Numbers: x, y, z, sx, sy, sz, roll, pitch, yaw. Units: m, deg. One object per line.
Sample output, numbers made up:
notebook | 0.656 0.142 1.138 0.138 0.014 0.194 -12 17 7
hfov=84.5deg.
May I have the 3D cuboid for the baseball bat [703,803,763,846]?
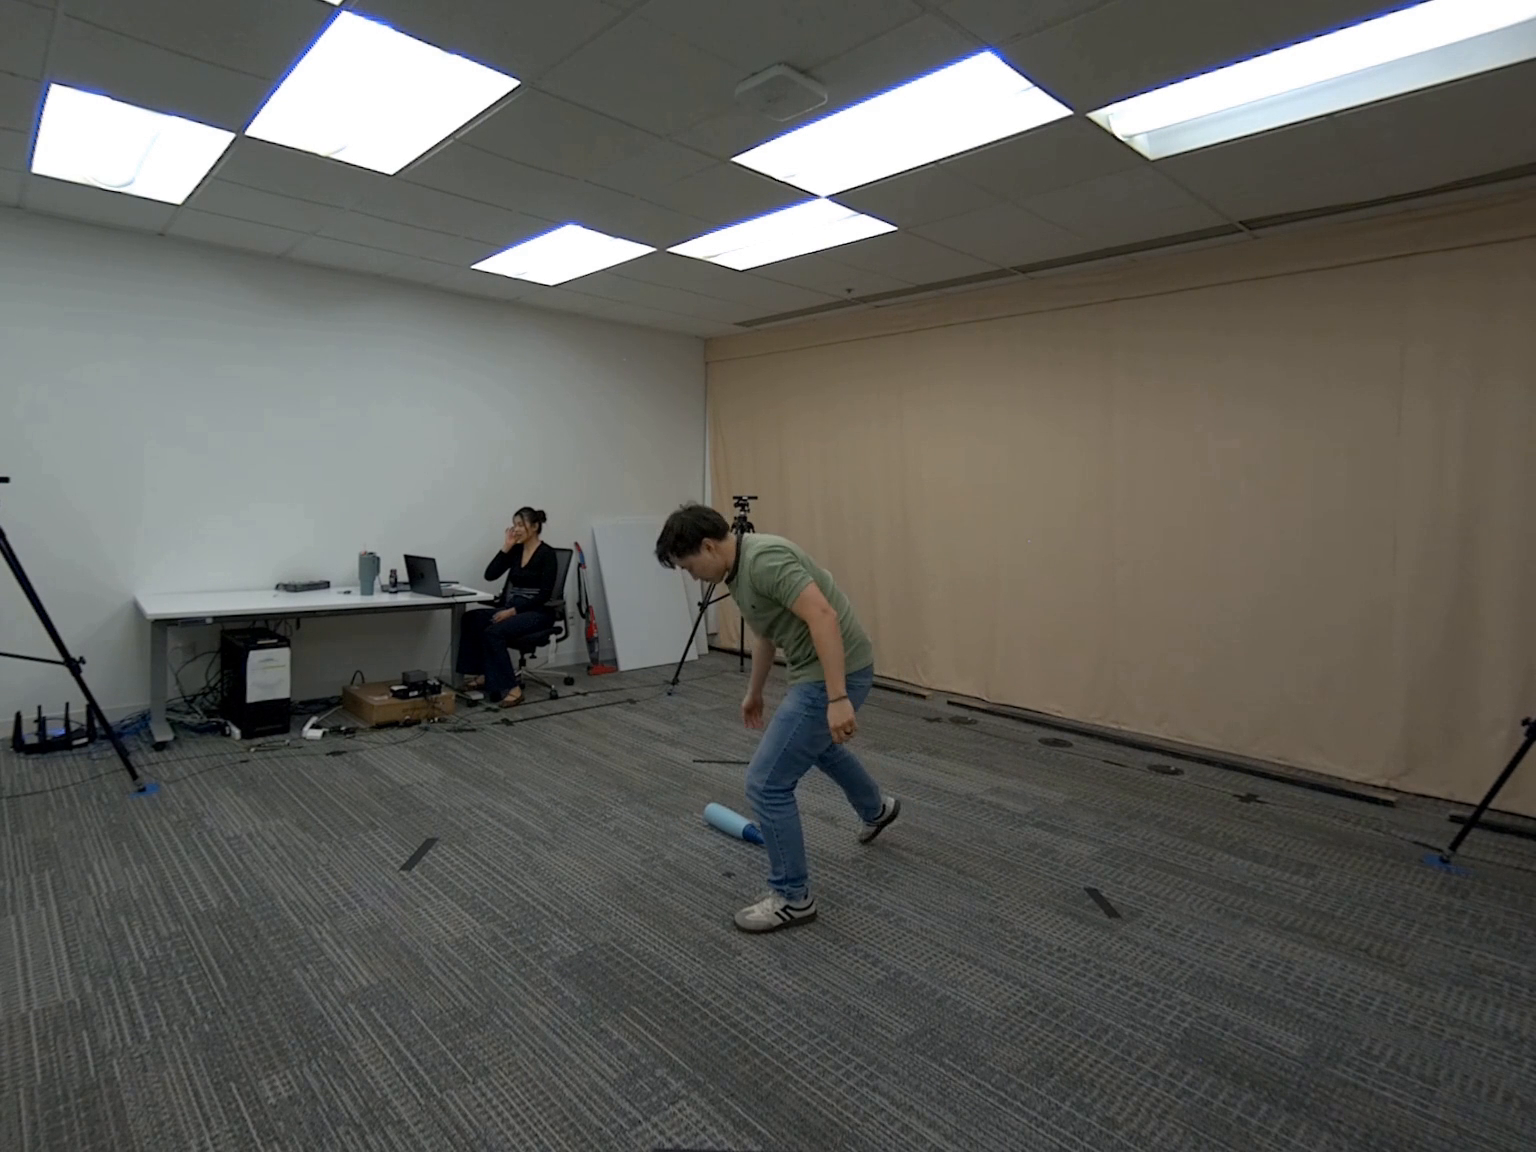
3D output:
baseball bat | -0.072 1.041 3.394 0.087 0.089 0.558 -2 9 -41
